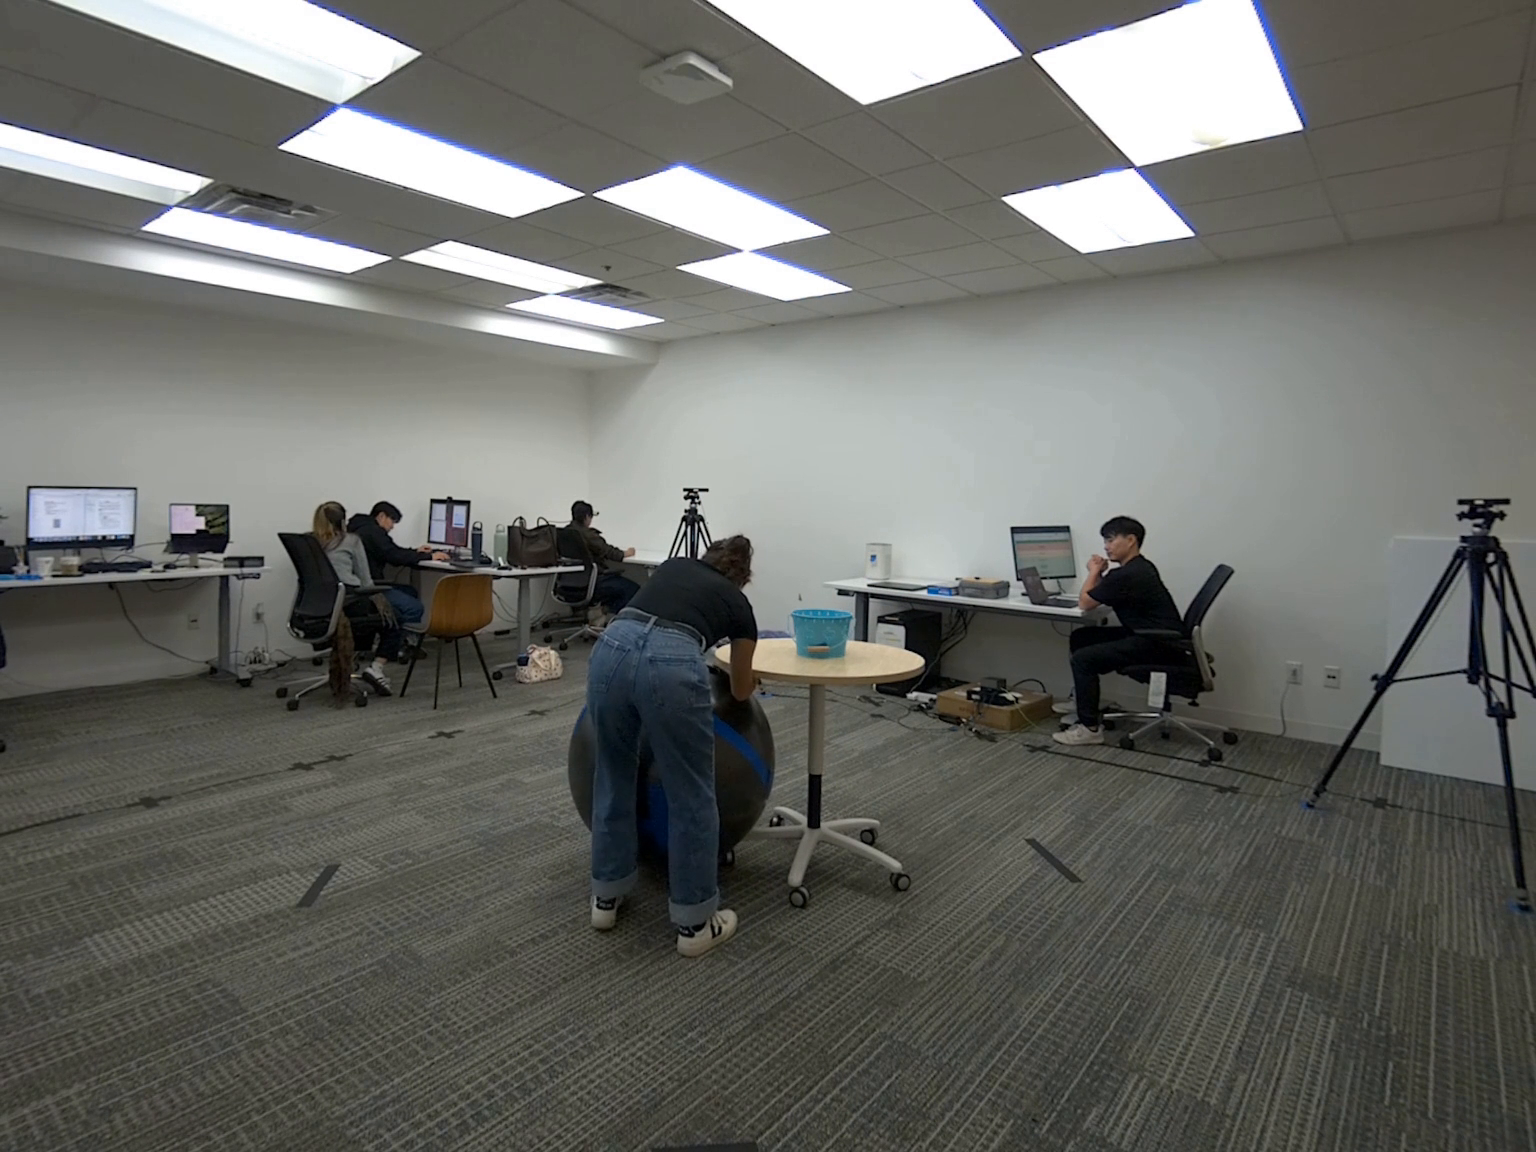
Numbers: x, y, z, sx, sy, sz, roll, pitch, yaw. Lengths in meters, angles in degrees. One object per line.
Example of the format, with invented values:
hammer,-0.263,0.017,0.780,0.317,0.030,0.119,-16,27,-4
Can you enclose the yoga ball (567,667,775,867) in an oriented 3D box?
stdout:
yoga ball,-0.368,0.672,3.139,0.757,0.755,0.762,1,4,-2
